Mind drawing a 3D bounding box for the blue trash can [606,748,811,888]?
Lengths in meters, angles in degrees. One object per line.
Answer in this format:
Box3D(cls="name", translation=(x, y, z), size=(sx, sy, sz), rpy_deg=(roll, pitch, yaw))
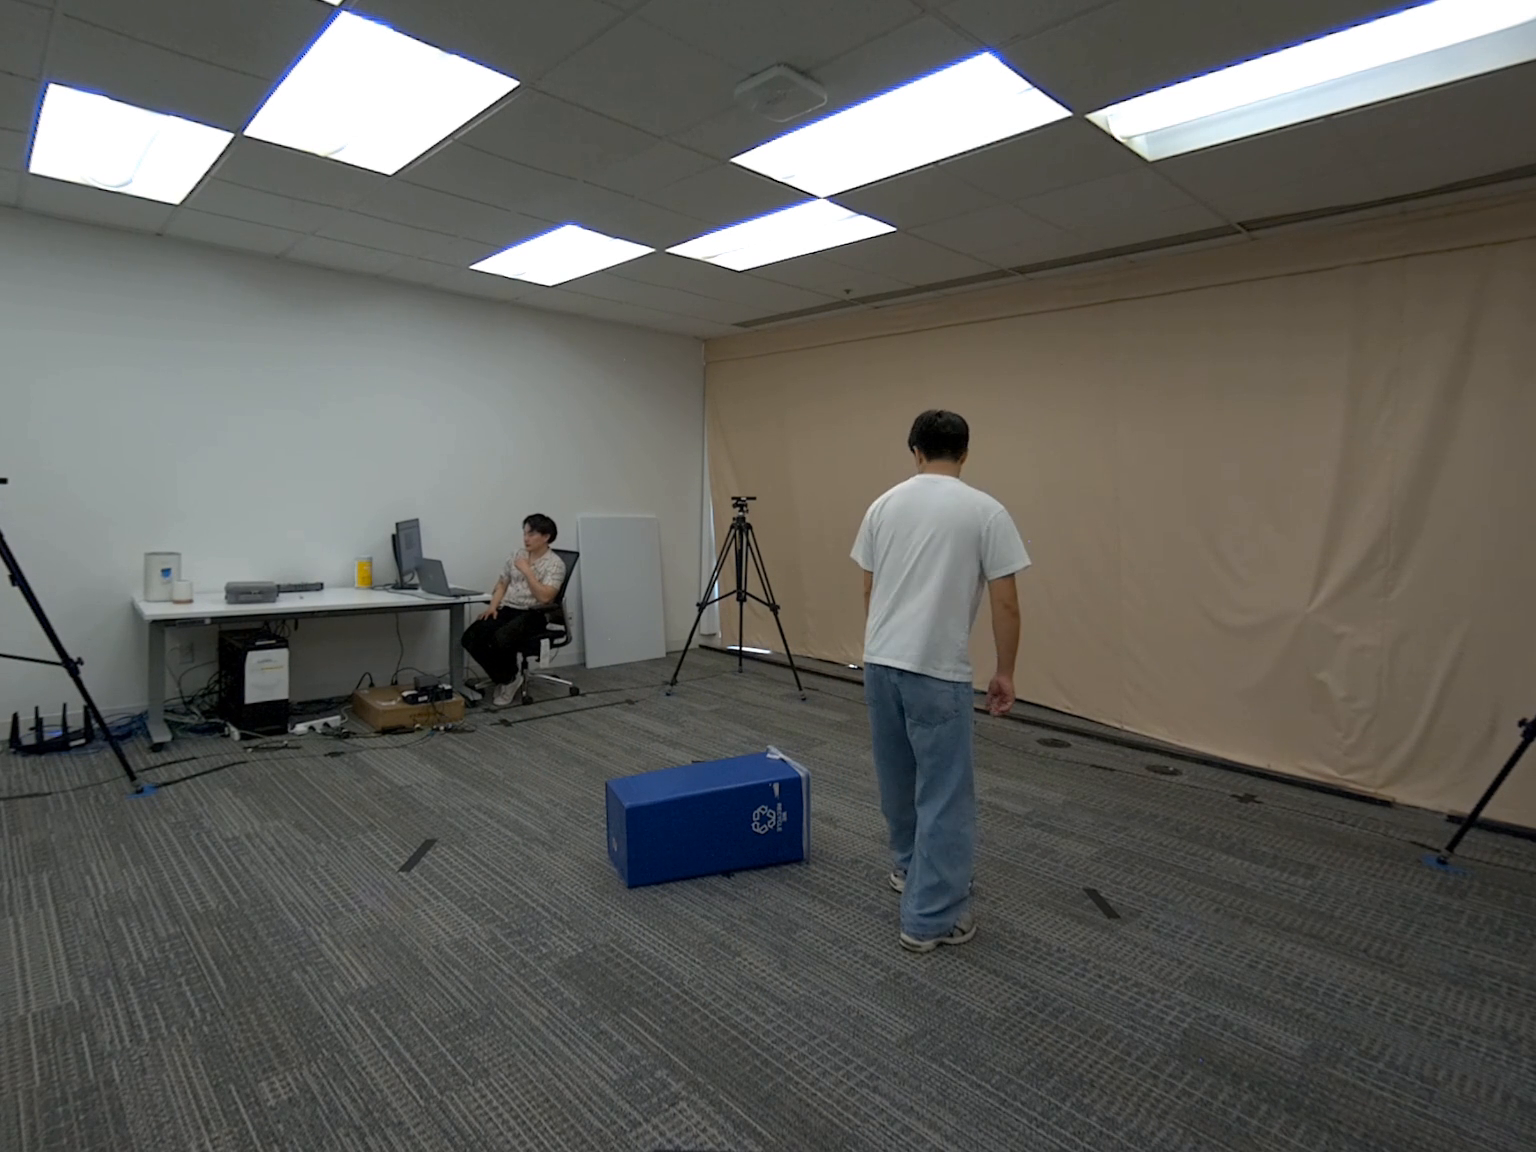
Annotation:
Box3D(cls="blue trash can", translation=(-0.241, 0.926, 3.231), size=(0.702, 0.377, 0.381), rpy_deg=(-3, 5, -23))
